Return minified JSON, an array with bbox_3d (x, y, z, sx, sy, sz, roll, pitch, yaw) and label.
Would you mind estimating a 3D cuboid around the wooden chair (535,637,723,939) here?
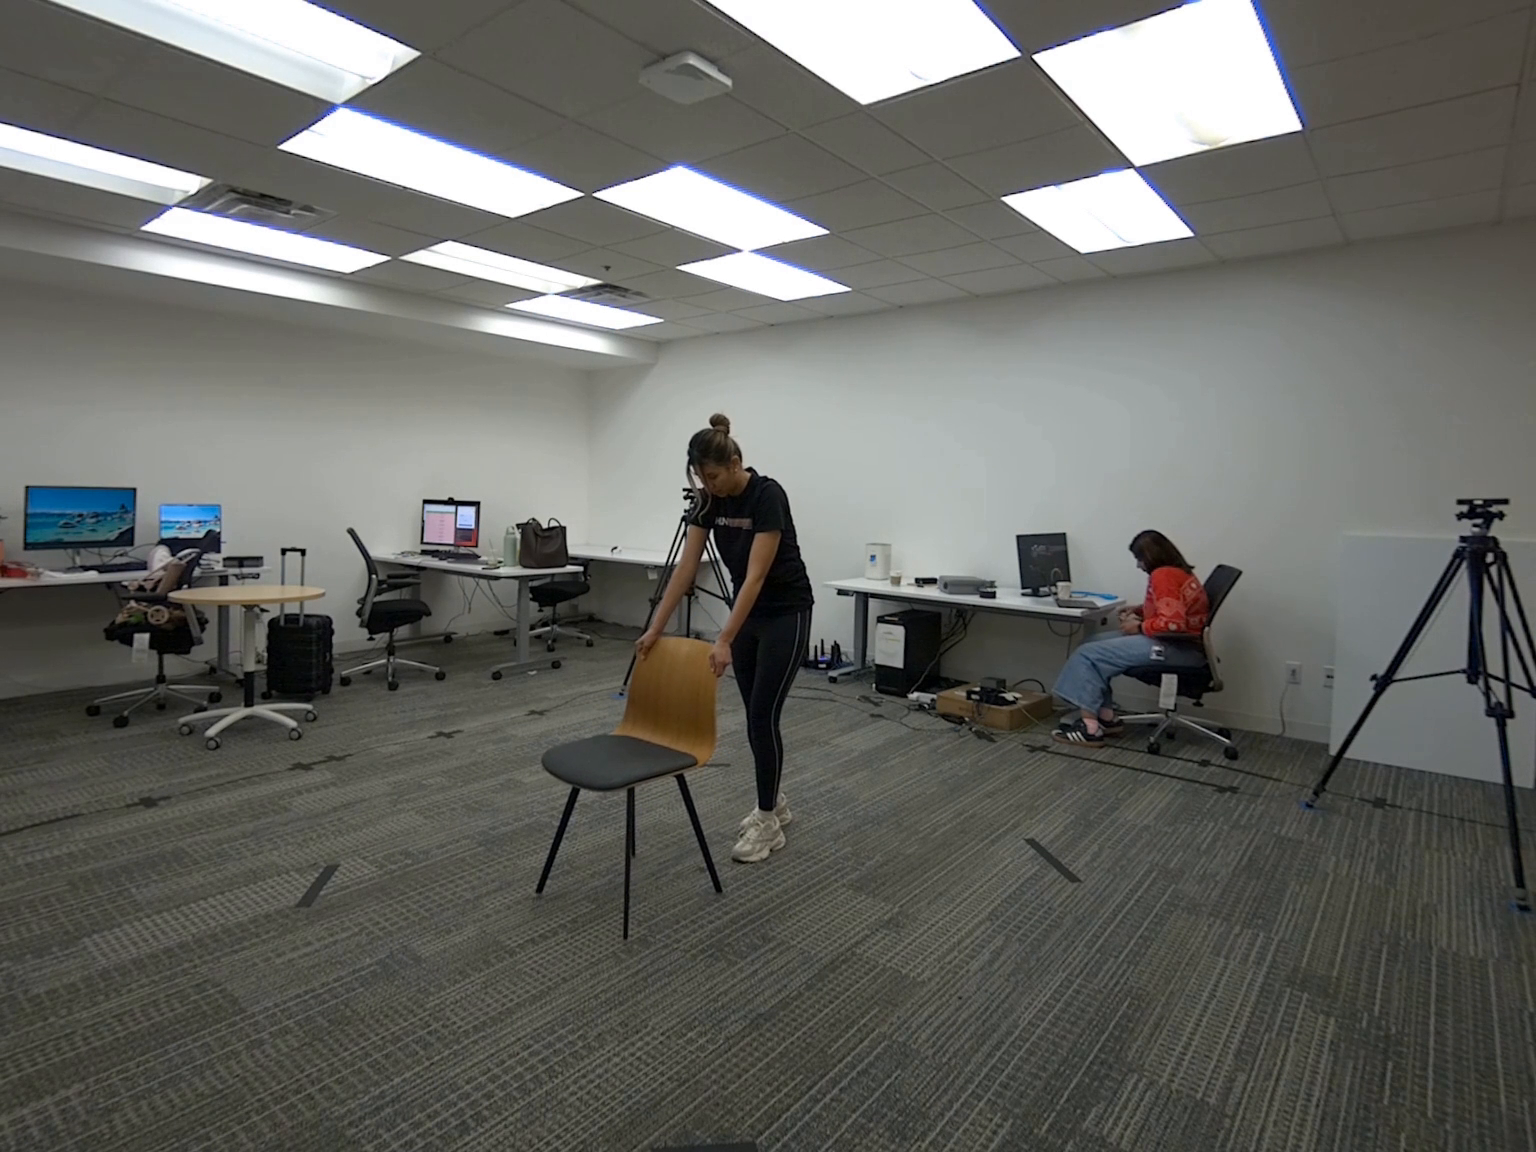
[{"bbox_3d":[-0.473,0.657,2.880,0.494,0.878,0.505,4,-1,39],"label":"wooden chair"}]
